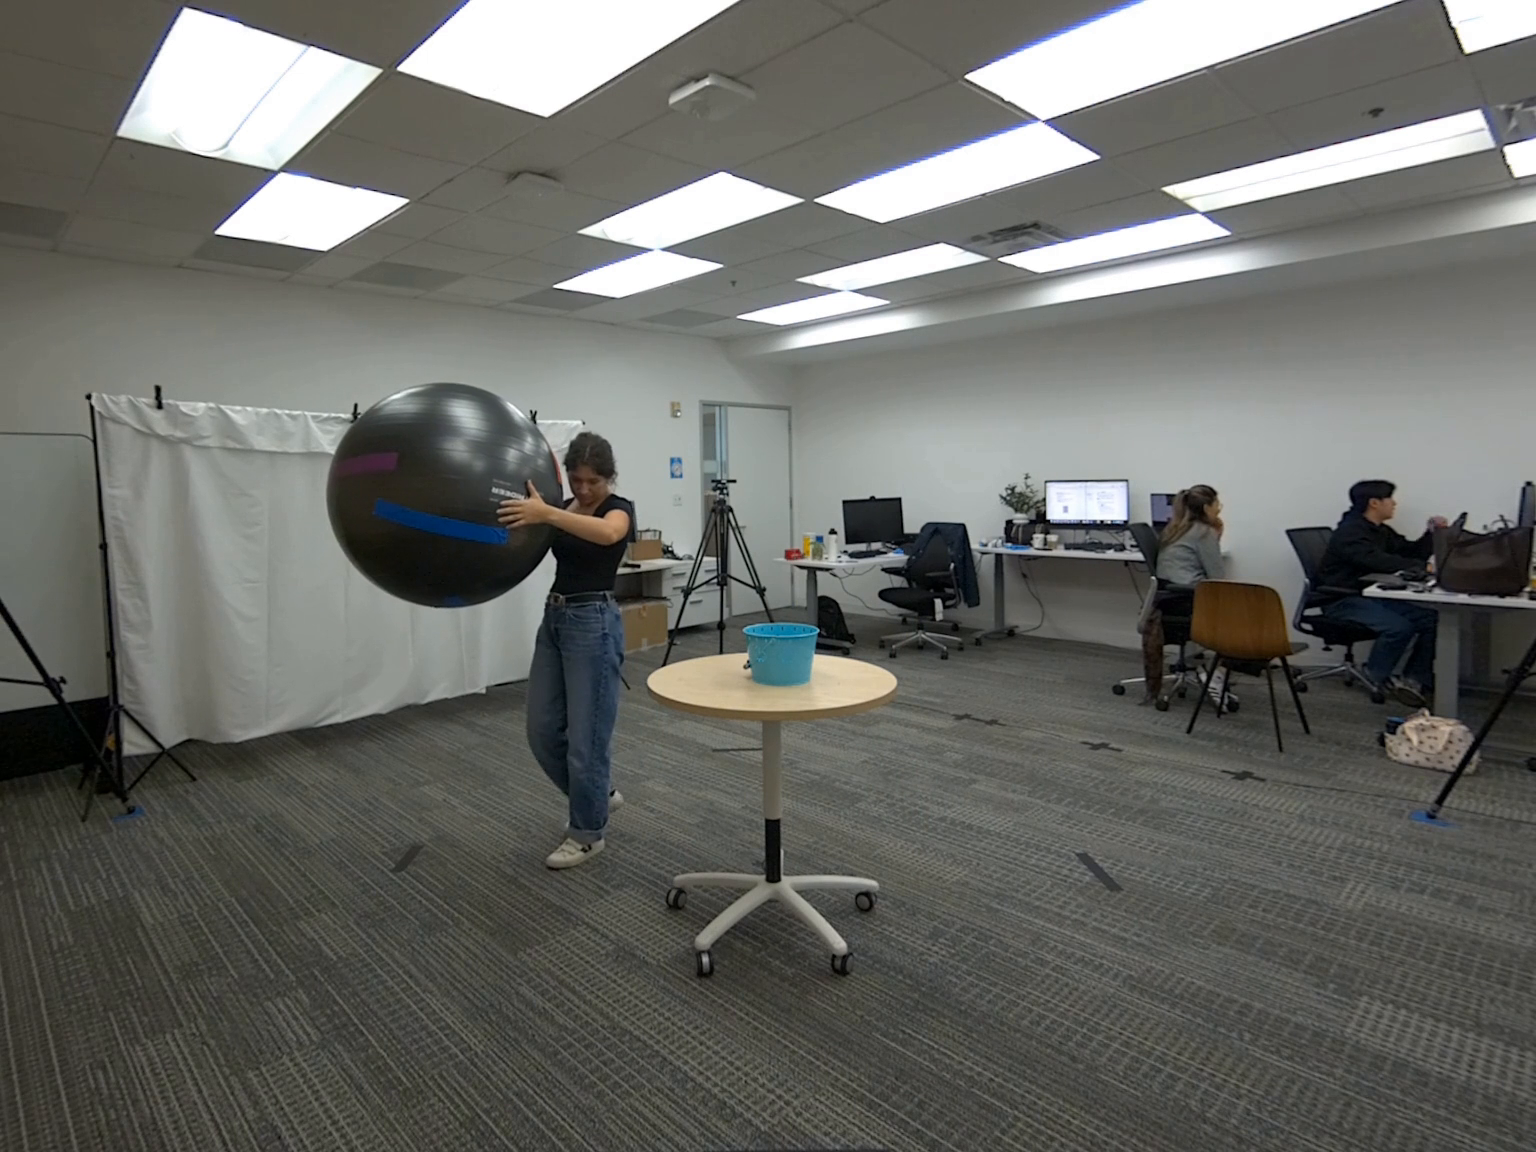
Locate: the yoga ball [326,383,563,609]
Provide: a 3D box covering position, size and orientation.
[{"bbox_3d":[-1.091,-0.266,2.901,0.757,0.755,0.762,-1,5,-2],"label":"yoga ball"}]
